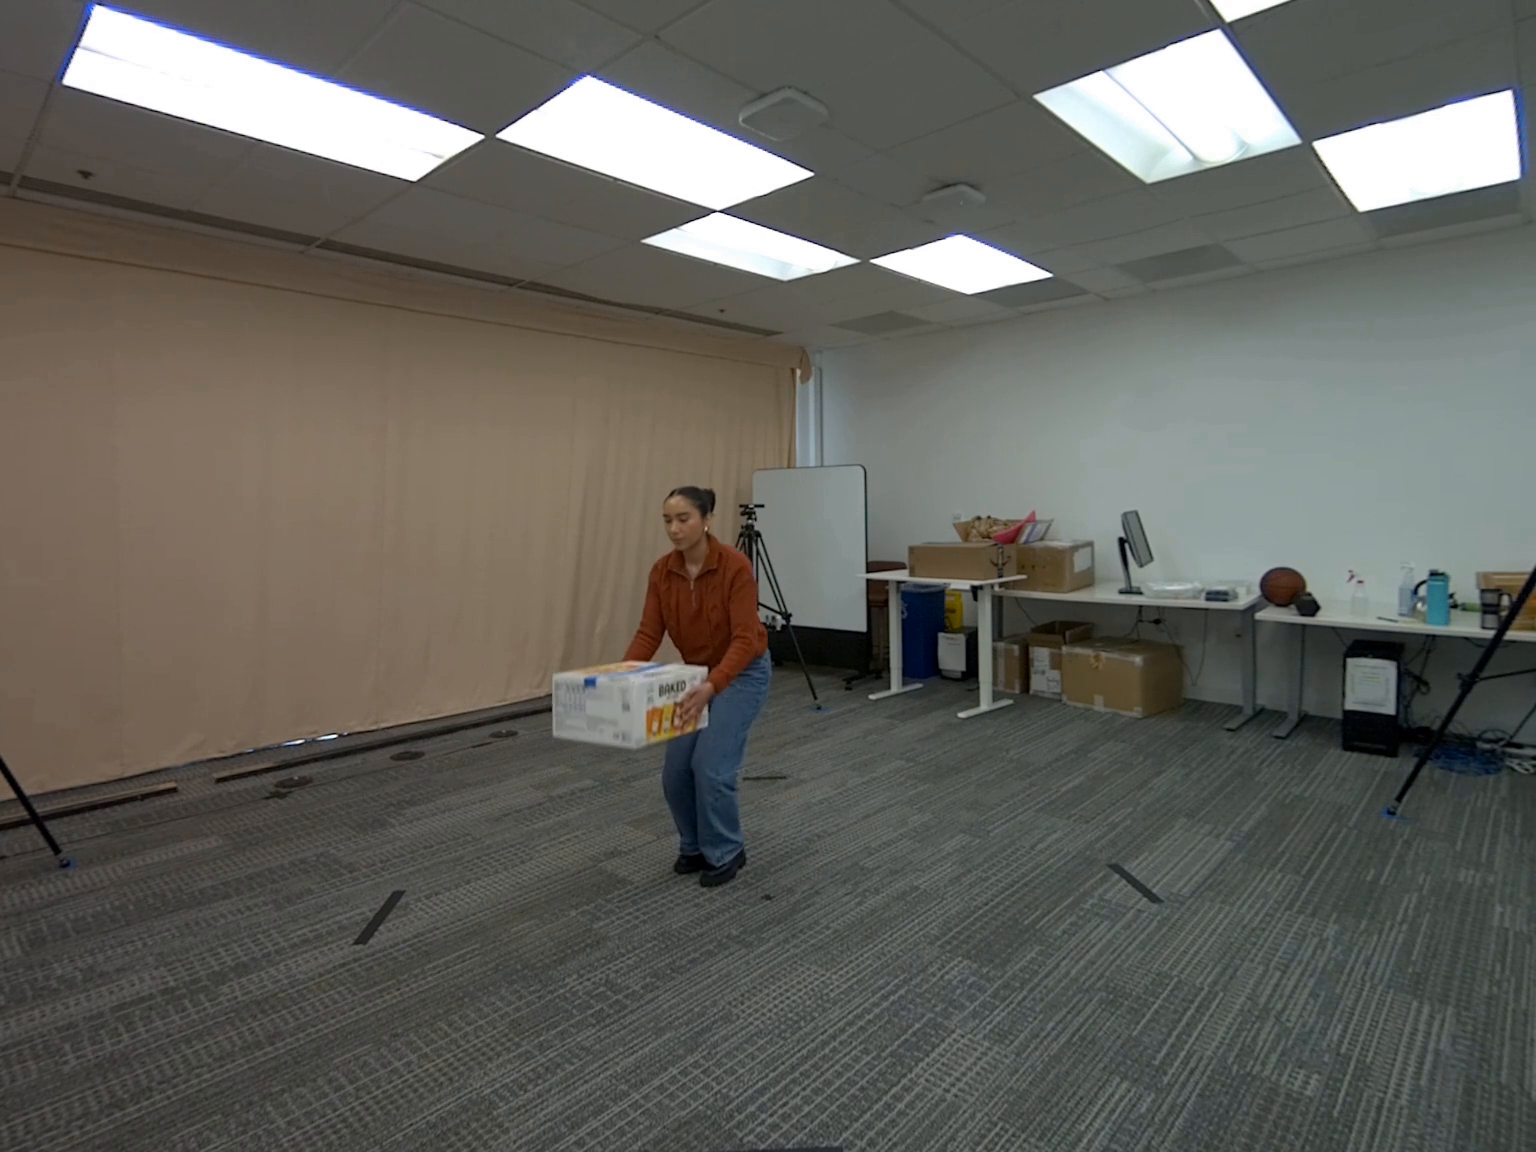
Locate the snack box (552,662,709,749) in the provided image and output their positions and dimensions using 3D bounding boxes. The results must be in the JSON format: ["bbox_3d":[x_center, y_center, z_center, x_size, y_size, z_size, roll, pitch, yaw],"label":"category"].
[{"bbox_3d":[-0.449,0.382,2.781,0.350,0.206,0.393,-1,0,31],"label":"snack box"}]
